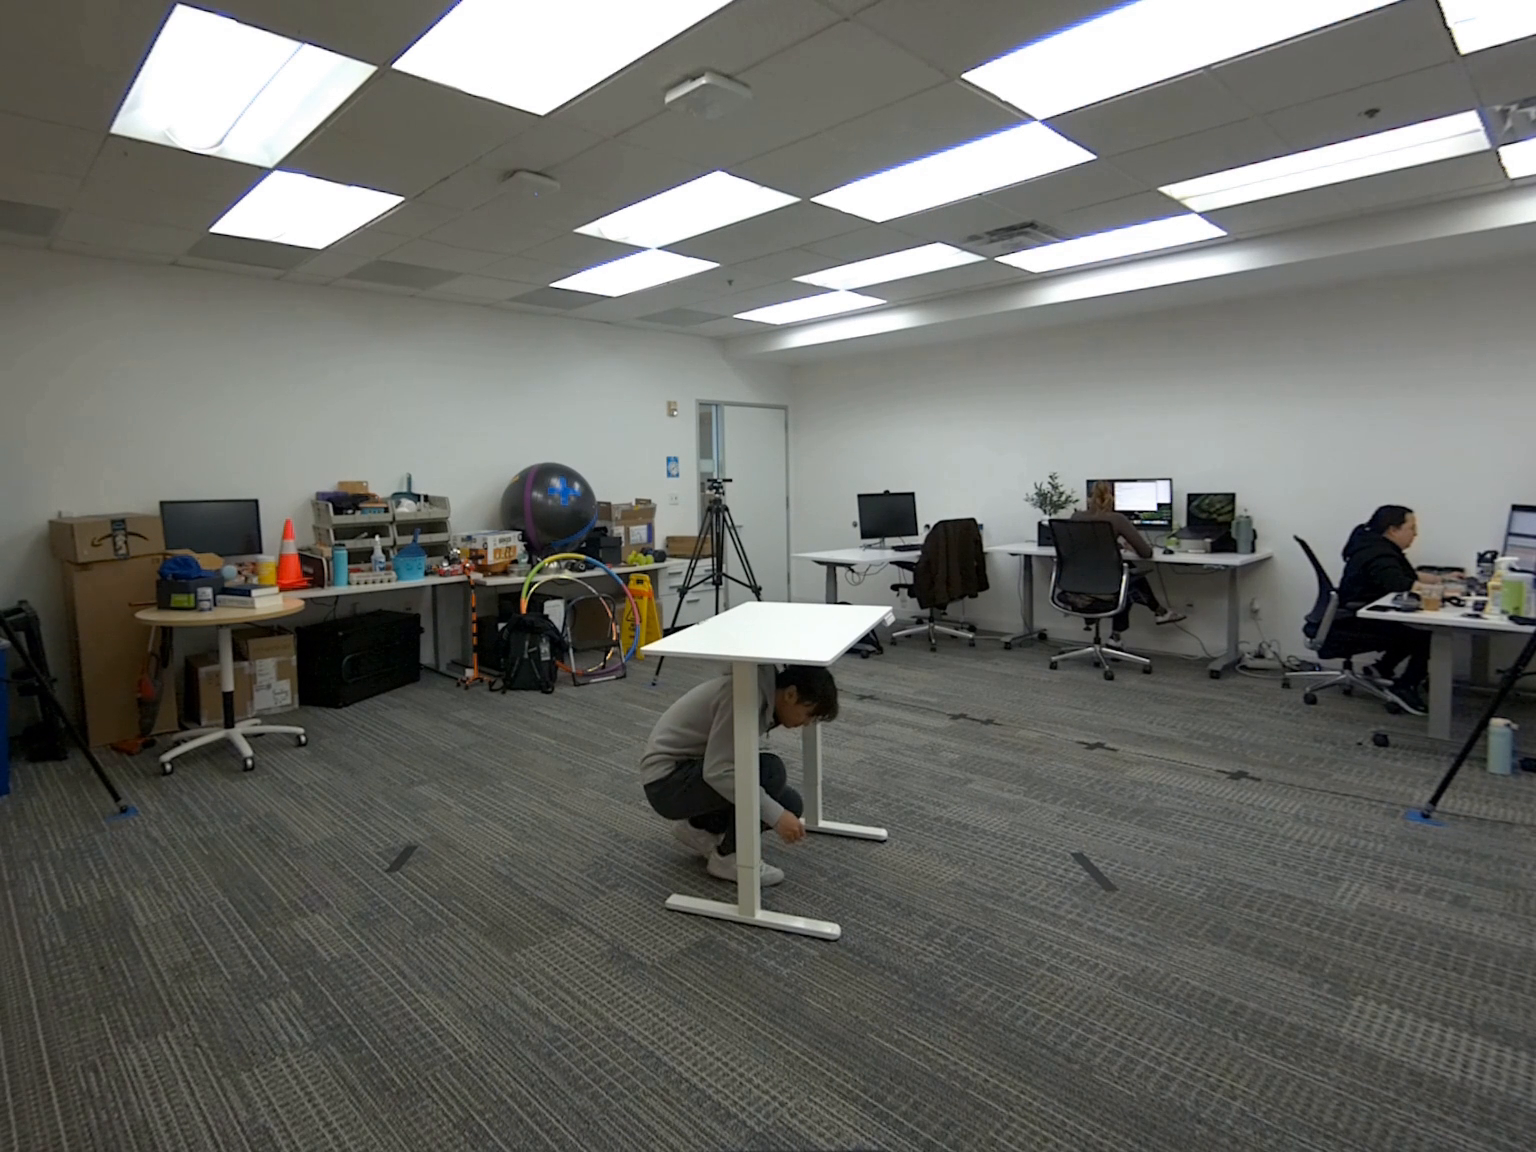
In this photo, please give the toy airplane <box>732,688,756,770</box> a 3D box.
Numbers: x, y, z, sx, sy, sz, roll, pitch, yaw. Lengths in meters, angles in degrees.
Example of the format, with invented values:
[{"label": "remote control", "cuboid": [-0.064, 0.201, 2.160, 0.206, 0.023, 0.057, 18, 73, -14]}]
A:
[{"label": "toy airplane", "cuboid": [-0.184, 0.596, 3.246, 0.154, 0.257, 0.258, 19, -42, -16]}]
